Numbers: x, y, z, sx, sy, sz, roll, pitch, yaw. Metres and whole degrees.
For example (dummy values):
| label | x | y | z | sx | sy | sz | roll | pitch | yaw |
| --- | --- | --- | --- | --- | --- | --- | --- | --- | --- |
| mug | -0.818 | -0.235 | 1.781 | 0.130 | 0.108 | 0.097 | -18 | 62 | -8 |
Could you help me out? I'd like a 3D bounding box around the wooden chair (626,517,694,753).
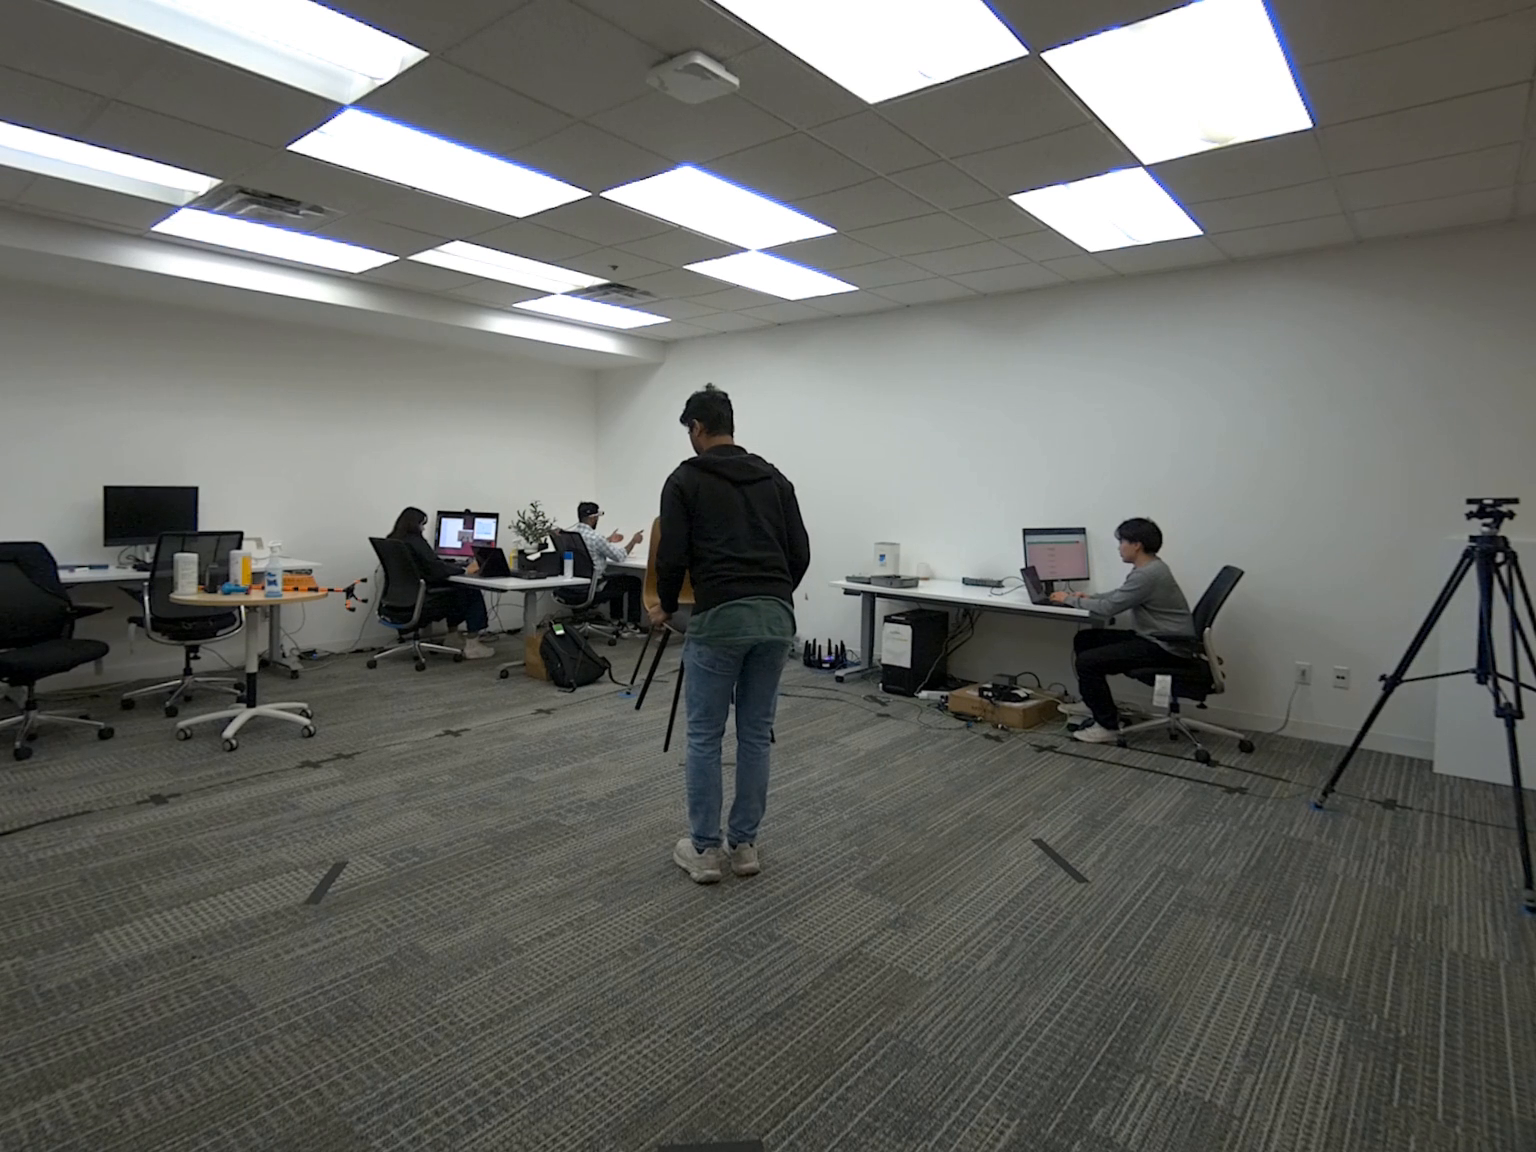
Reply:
| label | x | y | z | sx | sy | sz | roll | pitch | yaw |
| --- | --- | --- | --- | --- | --- | --- | --- | --- | --- |
| wooden chair | -0.248 | 0.201 | 3.386 | 0.467 | 0.873 | 0.538 | 2 | 6 | -23 |
